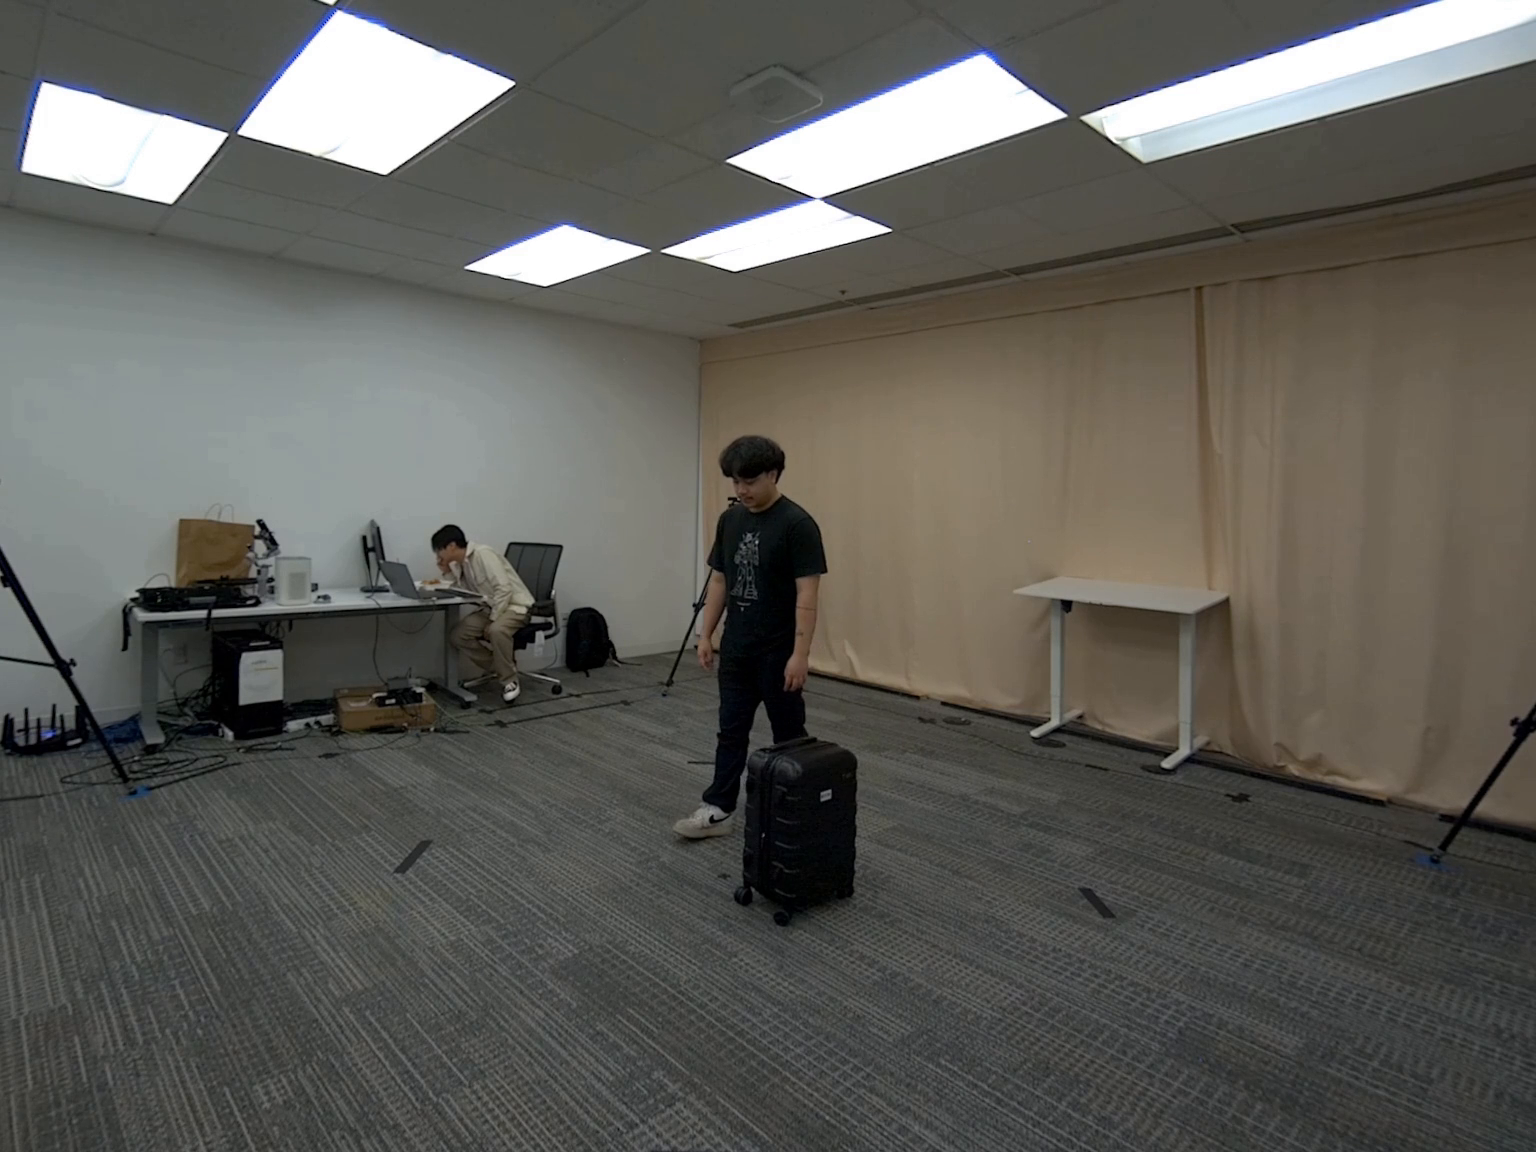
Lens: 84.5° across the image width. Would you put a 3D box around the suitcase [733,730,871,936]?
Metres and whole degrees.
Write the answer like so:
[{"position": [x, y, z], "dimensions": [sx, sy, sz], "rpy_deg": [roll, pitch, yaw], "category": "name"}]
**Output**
[{"position": [0.117, 0.860, 2.913], "dimensions": [0.366, 0.548, 0.255], "rpy_deg": [-1, 5, -42], "category": "suitcase"}]
